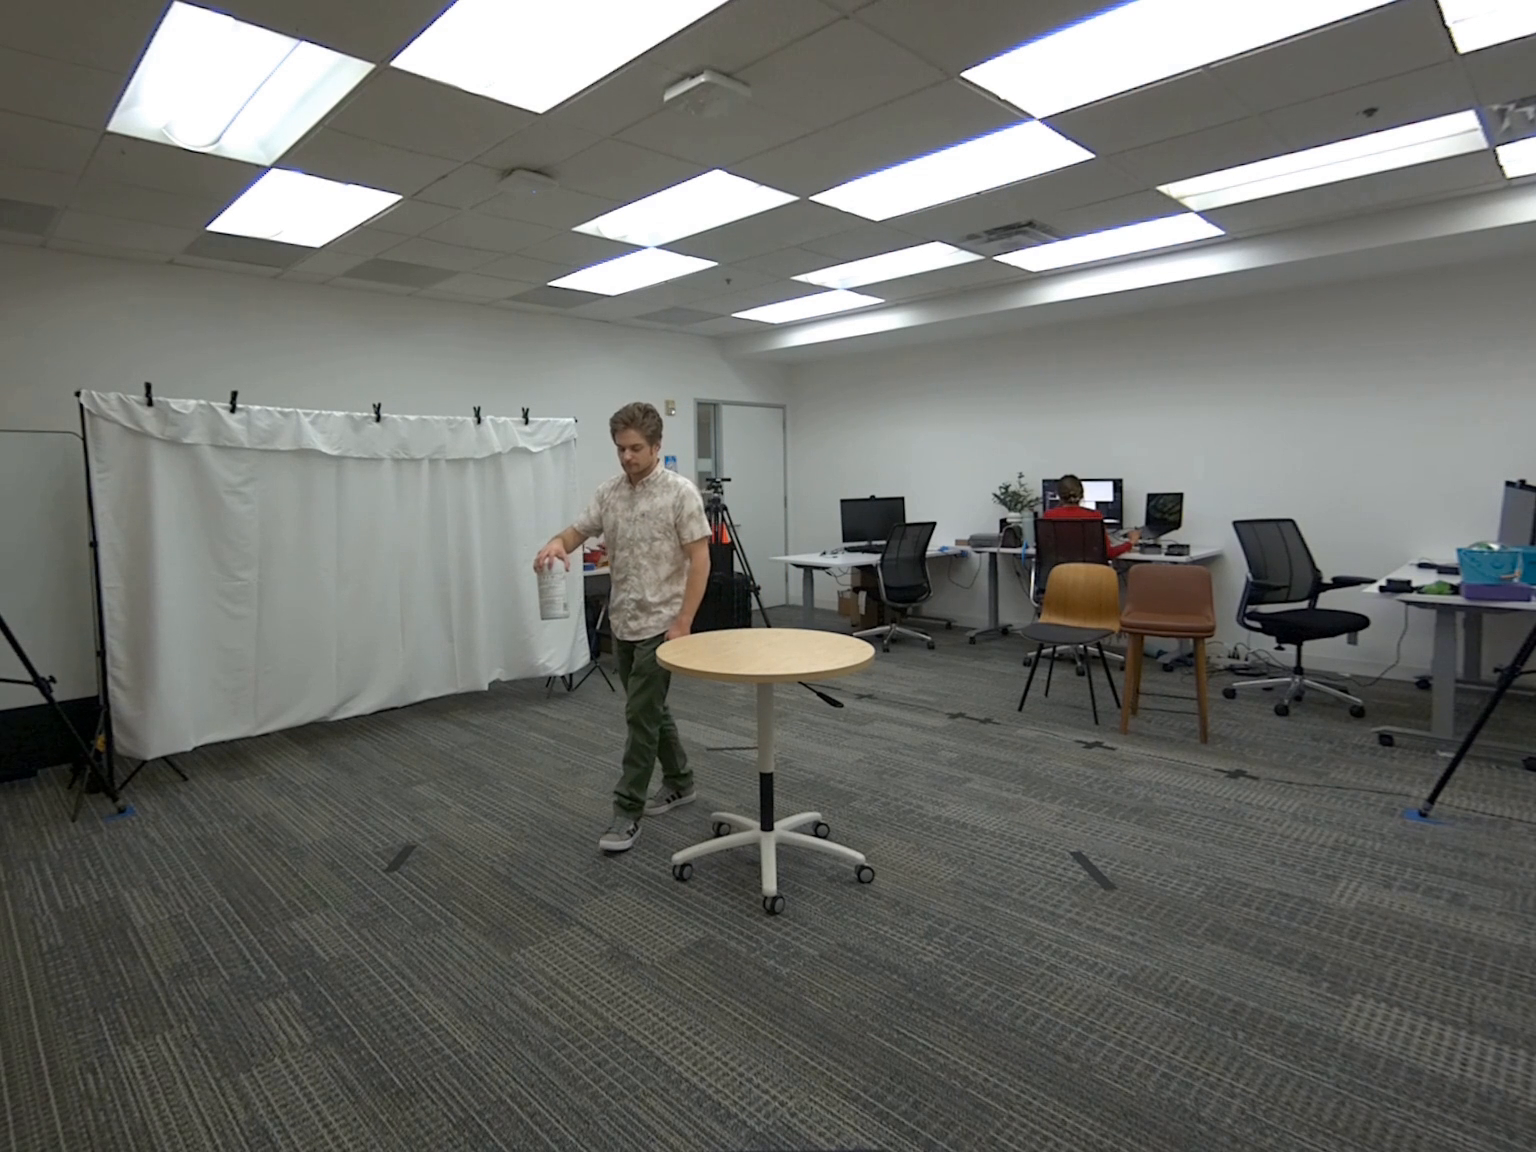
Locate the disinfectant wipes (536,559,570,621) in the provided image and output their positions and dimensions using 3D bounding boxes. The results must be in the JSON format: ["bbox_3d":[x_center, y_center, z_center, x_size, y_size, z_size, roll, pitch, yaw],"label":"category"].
[{"bbox_3d":[-0.814,0.058,3.245,0.117,0.218,0.117,-5,-3,-2],"label":"disinfectant wipes"}]
